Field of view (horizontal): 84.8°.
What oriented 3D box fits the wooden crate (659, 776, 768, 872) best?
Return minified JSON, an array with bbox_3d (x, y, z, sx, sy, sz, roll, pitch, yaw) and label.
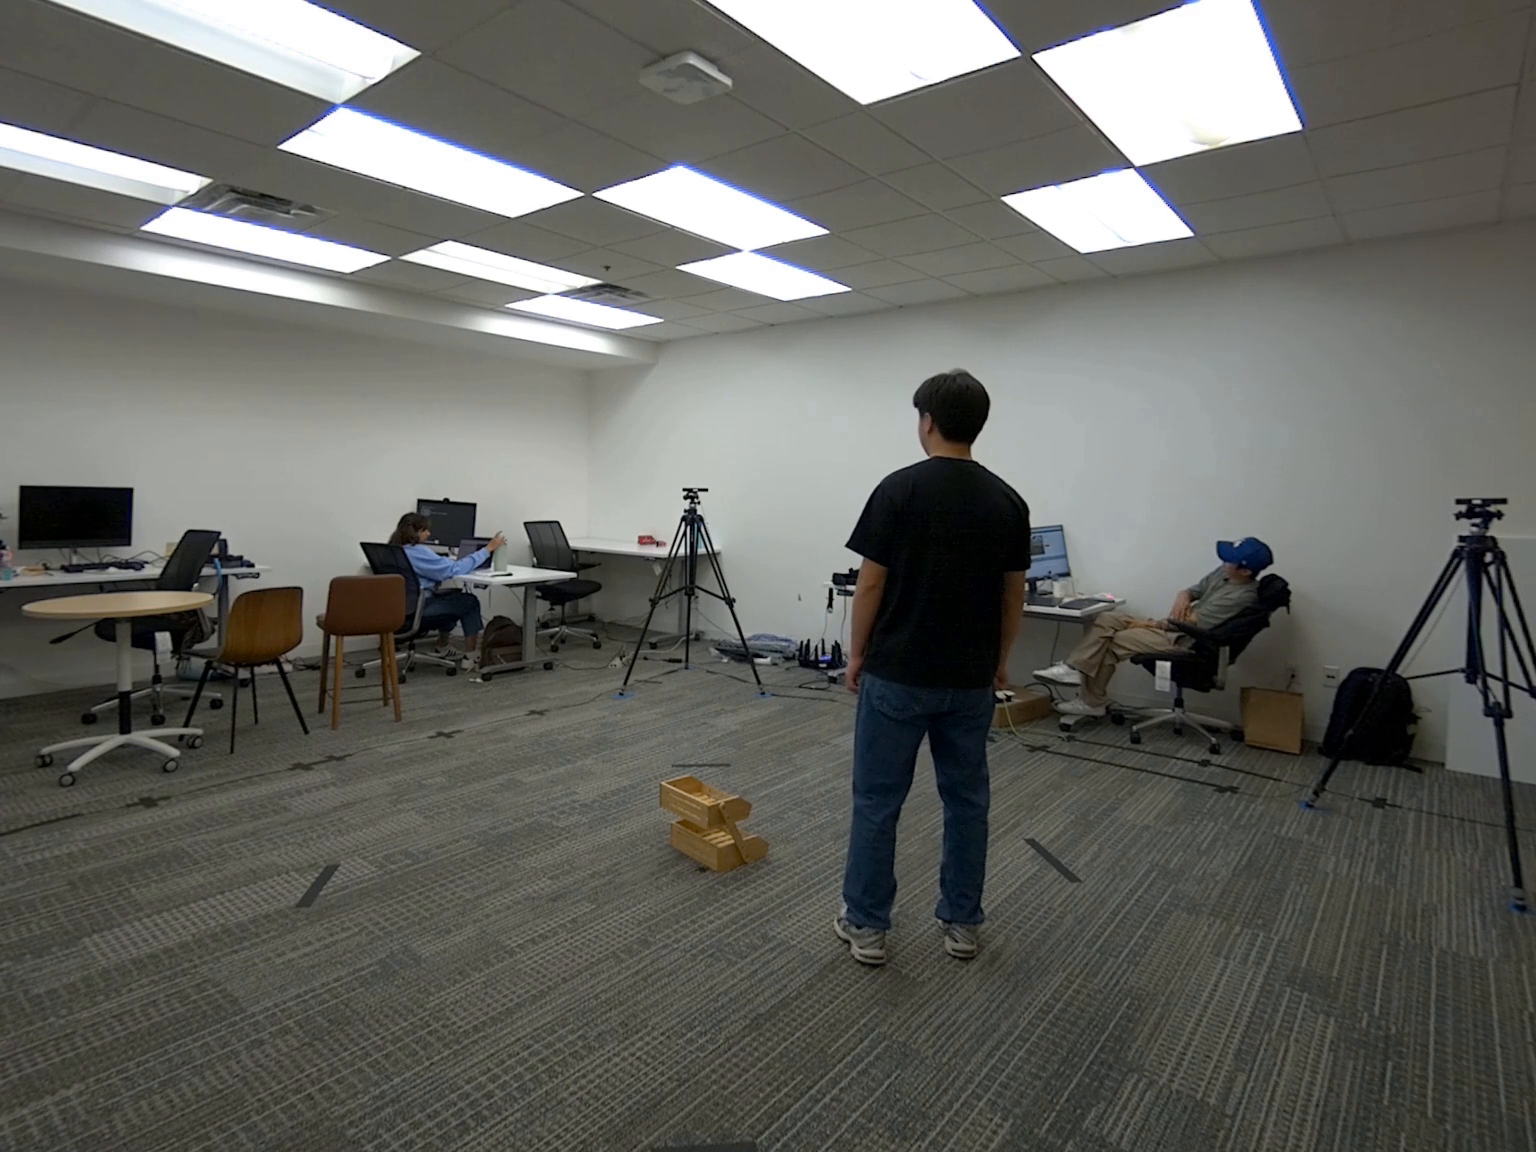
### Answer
[{"bbox_3d":[-0.214,0.920,3.255,0.293,0.272,0.335,-4,6,-41],"label":"wooden crate"}]
